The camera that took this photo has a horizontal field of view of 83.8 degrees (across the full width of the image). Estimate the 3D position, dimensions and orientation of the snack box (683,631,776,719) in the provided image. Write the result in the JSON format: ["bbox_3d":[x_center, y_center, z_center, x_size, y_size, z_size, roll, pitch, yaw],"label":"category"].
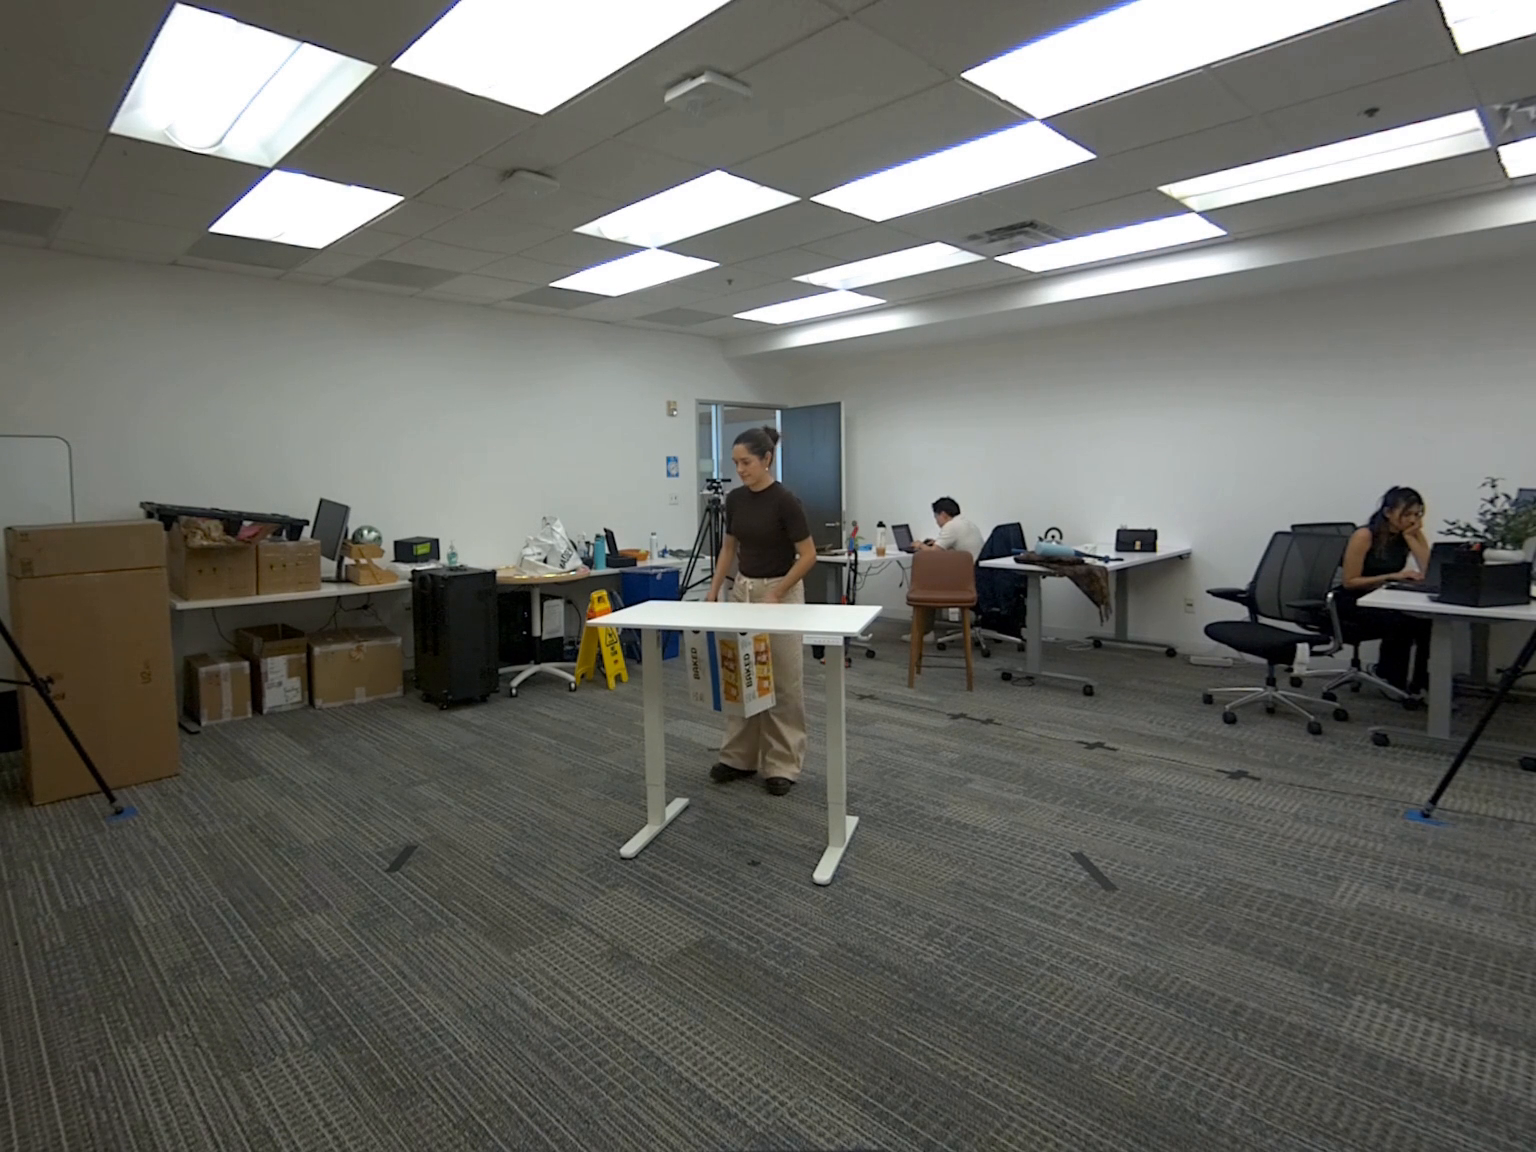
[{"bbox_3d":[-0.176,0.384,3.816,0.351,0.402,0.201,3,11,43],"label":"snack box"}]
